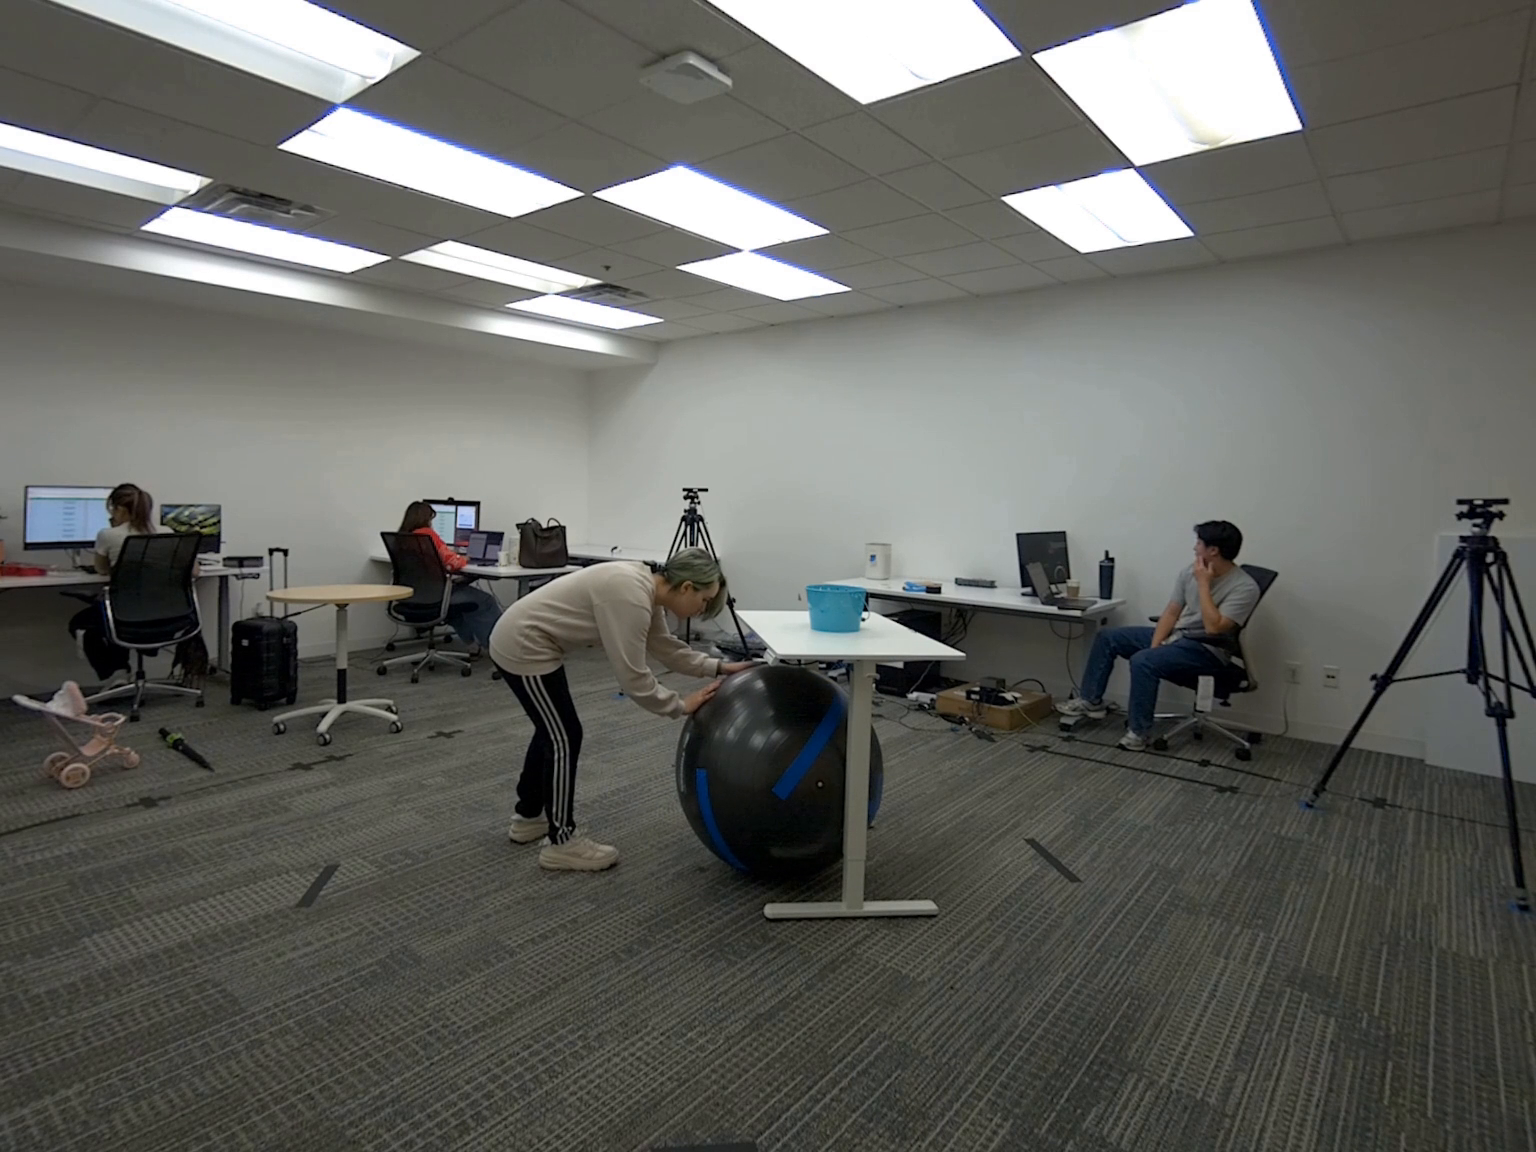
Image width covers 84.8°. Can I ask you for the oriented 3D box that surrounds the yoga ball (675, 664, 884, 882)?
[{"bbox_3d":[0.031,0.706,3.119,0.757,0.755,0.762,1,4,-2],"label":"yoga ball"}]
